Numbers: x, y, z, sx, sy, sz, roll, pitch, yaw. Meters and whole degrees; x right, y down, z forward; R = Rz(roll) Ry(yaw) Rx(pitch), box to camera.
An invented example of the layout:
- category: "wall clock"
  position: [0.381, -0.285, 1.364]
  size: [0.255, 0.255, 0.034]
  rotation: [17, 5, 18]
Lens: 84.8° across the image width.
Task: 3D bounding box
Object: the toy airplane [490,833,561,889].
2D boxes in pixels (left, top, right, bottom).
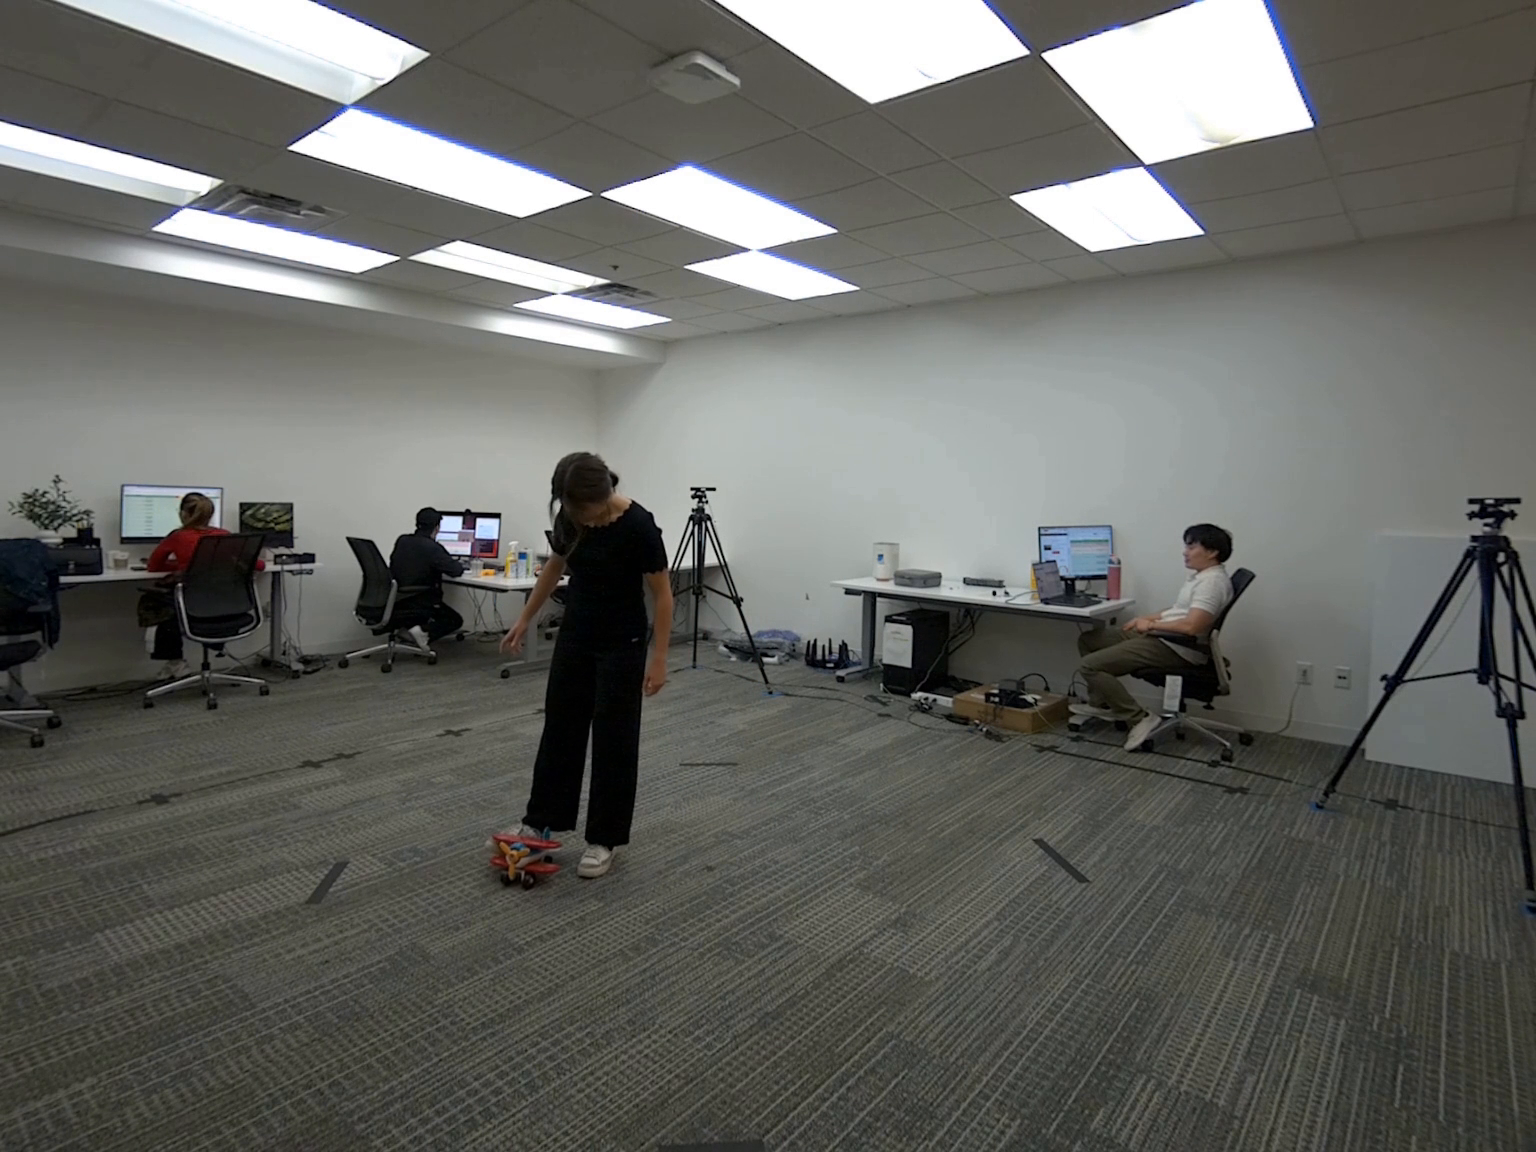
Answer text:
- category: "toy airplane"
  position: [-0.871, 0.987, 3.023]
  size: [0.248, 0.156, 0.263]
  rotation: [-1, 6, -12]
